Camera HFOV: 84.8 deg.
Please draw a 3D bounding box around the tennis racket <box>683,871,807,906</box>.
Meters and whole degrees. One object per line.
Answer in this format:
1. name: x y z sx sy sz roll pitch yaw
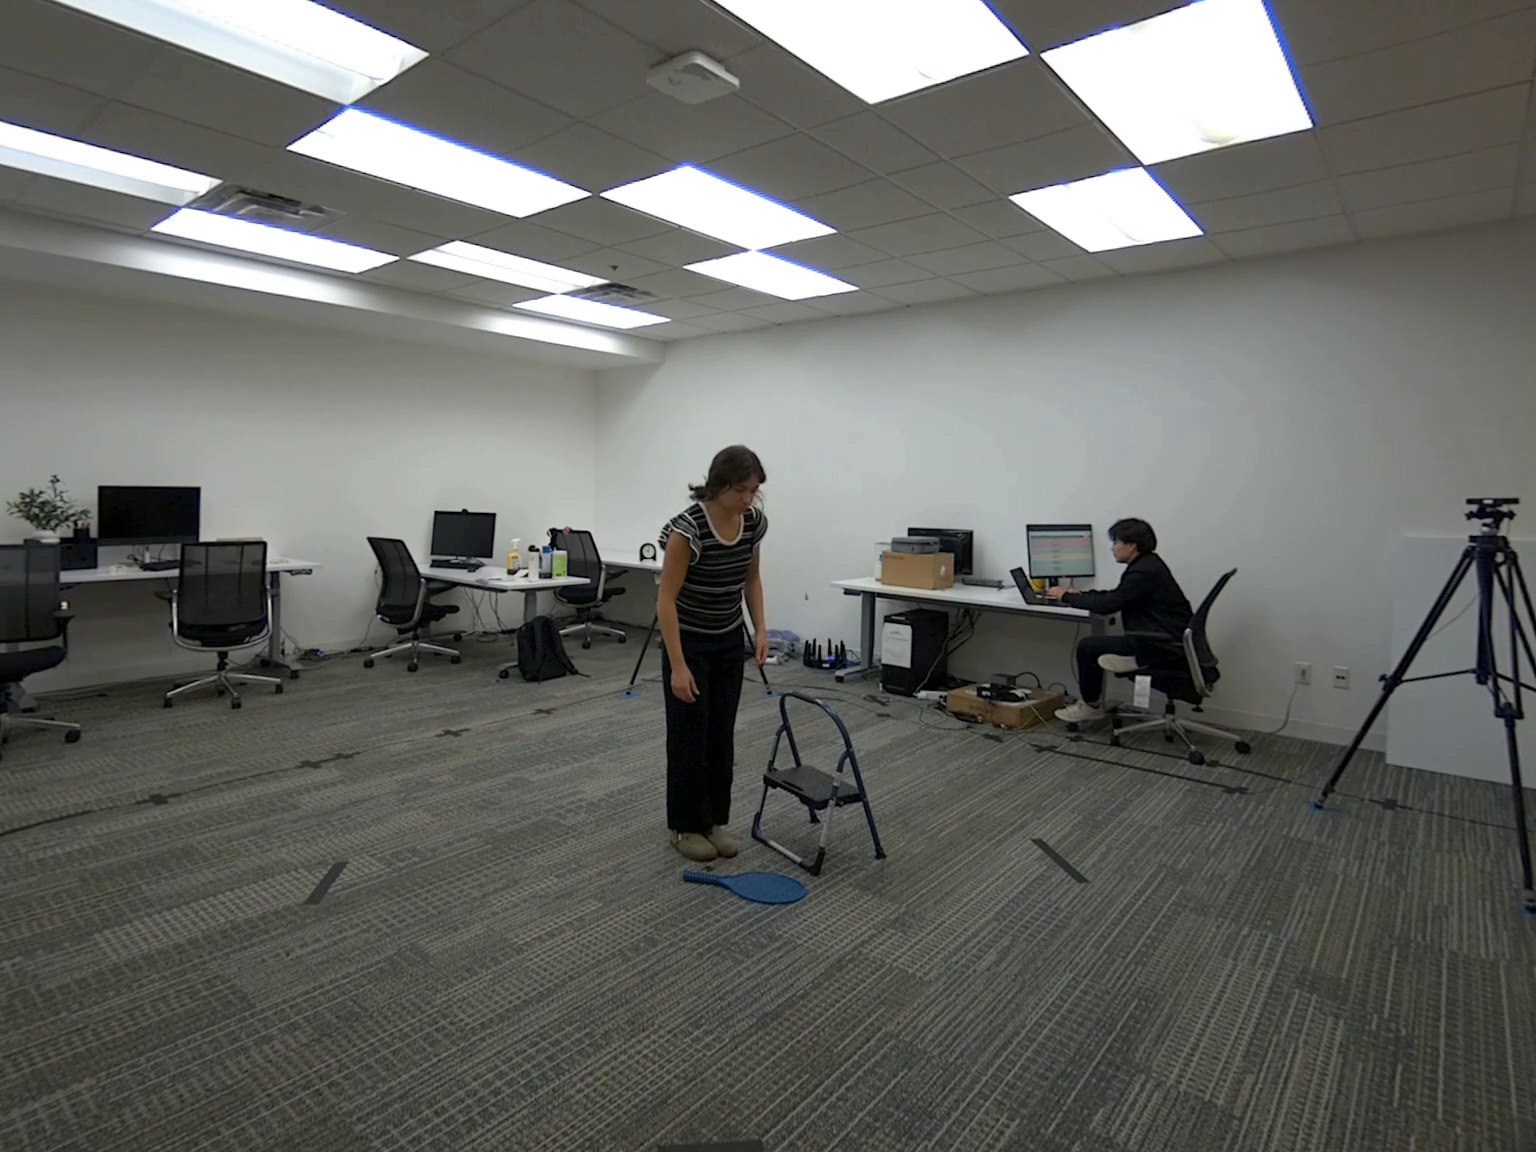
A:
1. tennis racket: -0.092 1.063 2.975 0.439 0.031 0.212 4 5 11
